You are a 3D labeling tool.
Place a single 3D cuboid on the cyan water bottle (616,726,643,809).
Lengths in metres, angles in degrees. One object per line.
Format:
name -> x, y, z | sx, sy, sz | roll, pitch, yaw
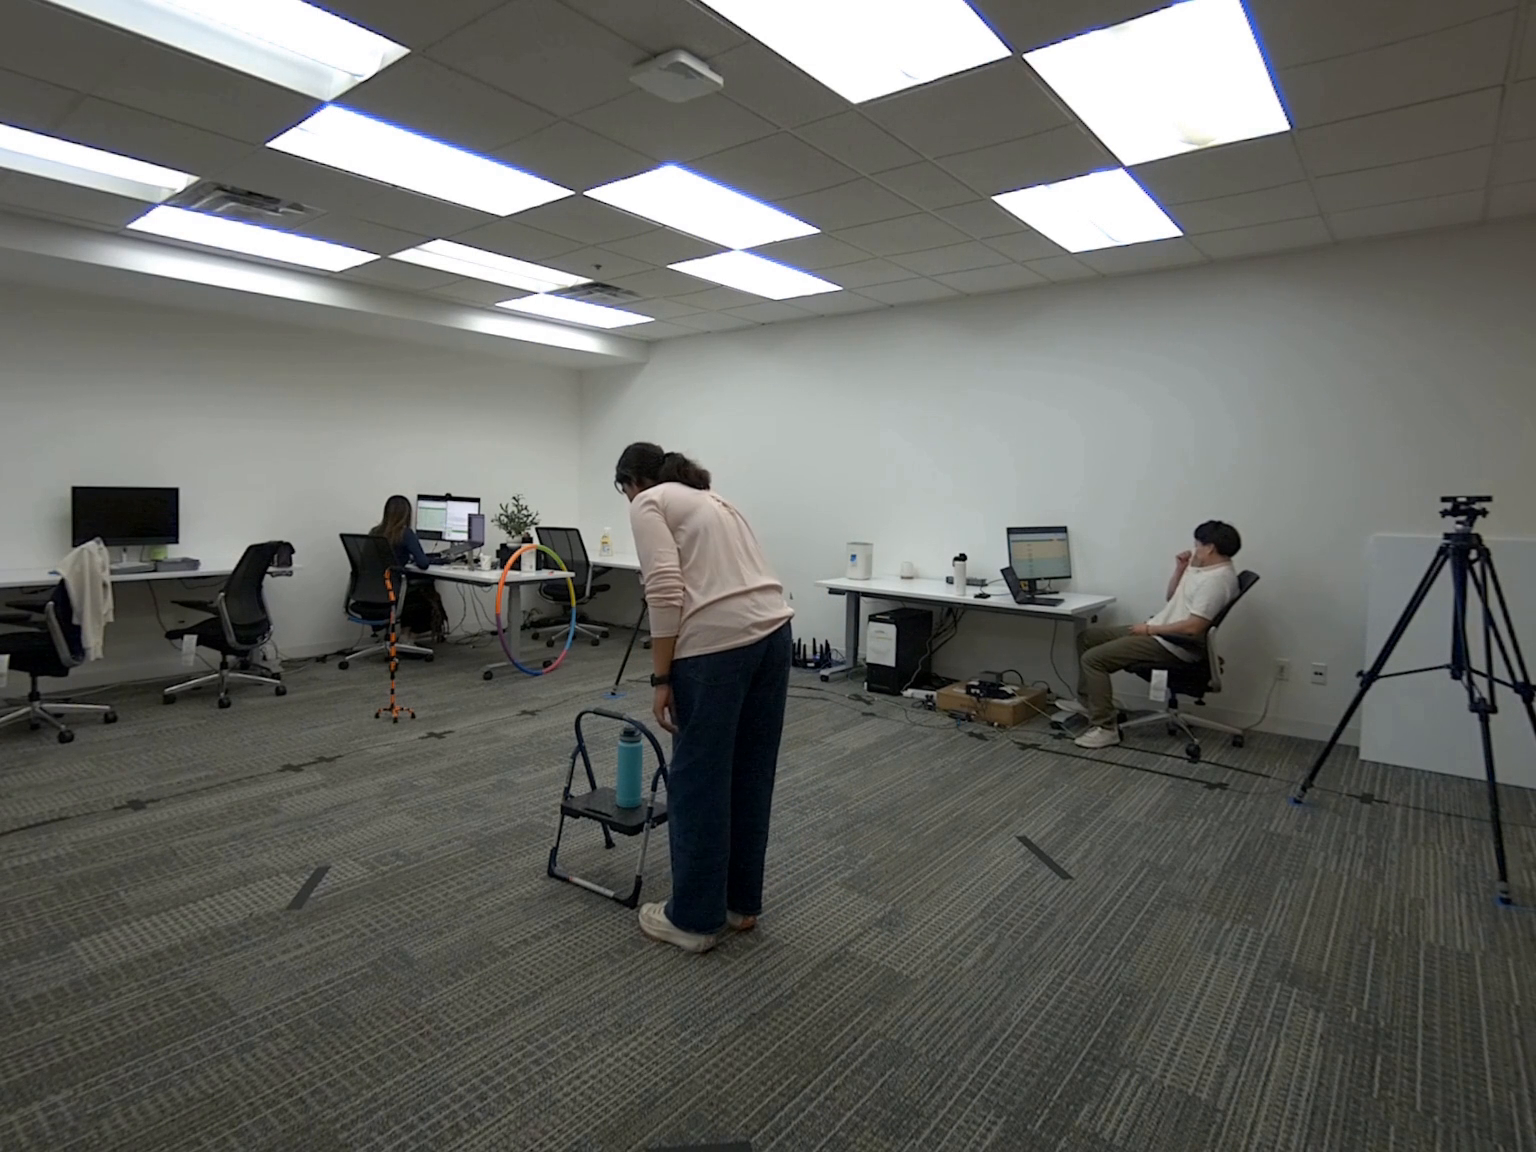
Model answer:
cyan water bottle -> -0.500, 0.672, 3.025 | 0.092, 0.283, 0.092 | 3, 0, -2
